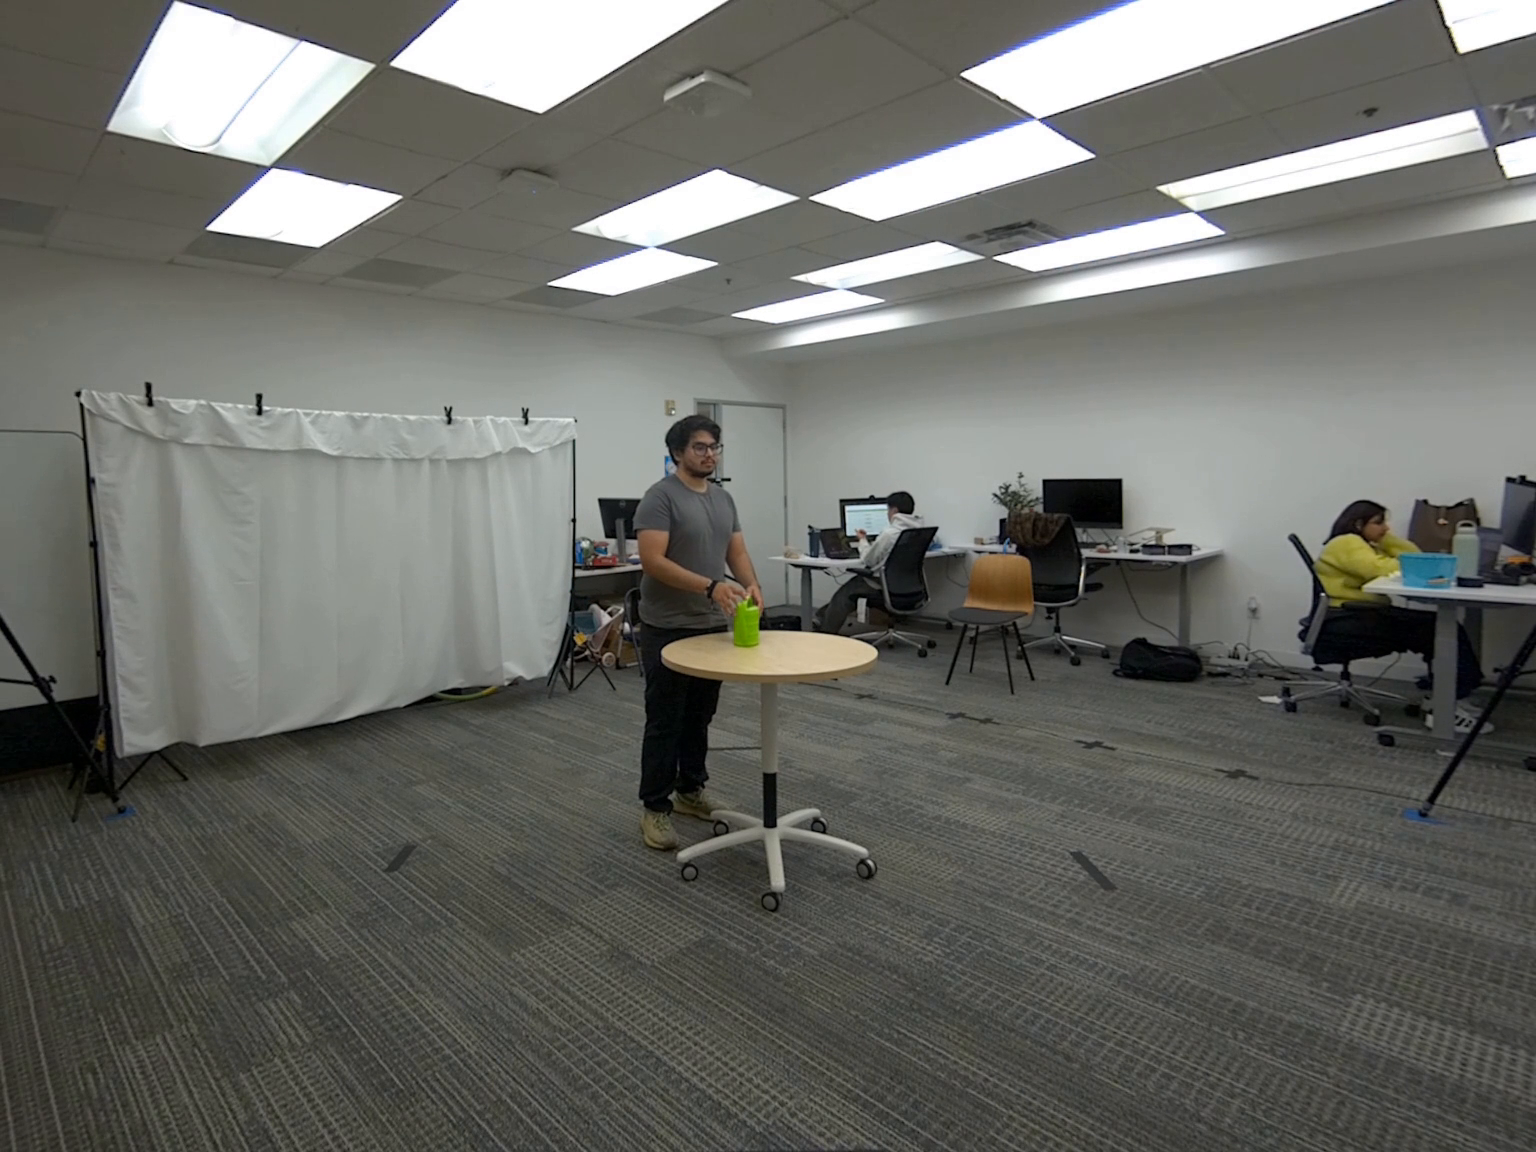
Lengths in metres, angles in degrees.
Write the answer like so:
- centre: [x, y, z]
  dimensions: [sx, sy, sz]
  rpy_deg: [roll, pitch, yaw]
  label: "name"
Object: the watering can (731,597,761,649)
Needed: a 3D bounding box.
- centre: [-0.096, 0.169, 3.122]
  dimensions: [0.100, 0.177, 0.272]
  rpy_deg: [-4, 1, 26]
  label: "watering can"
